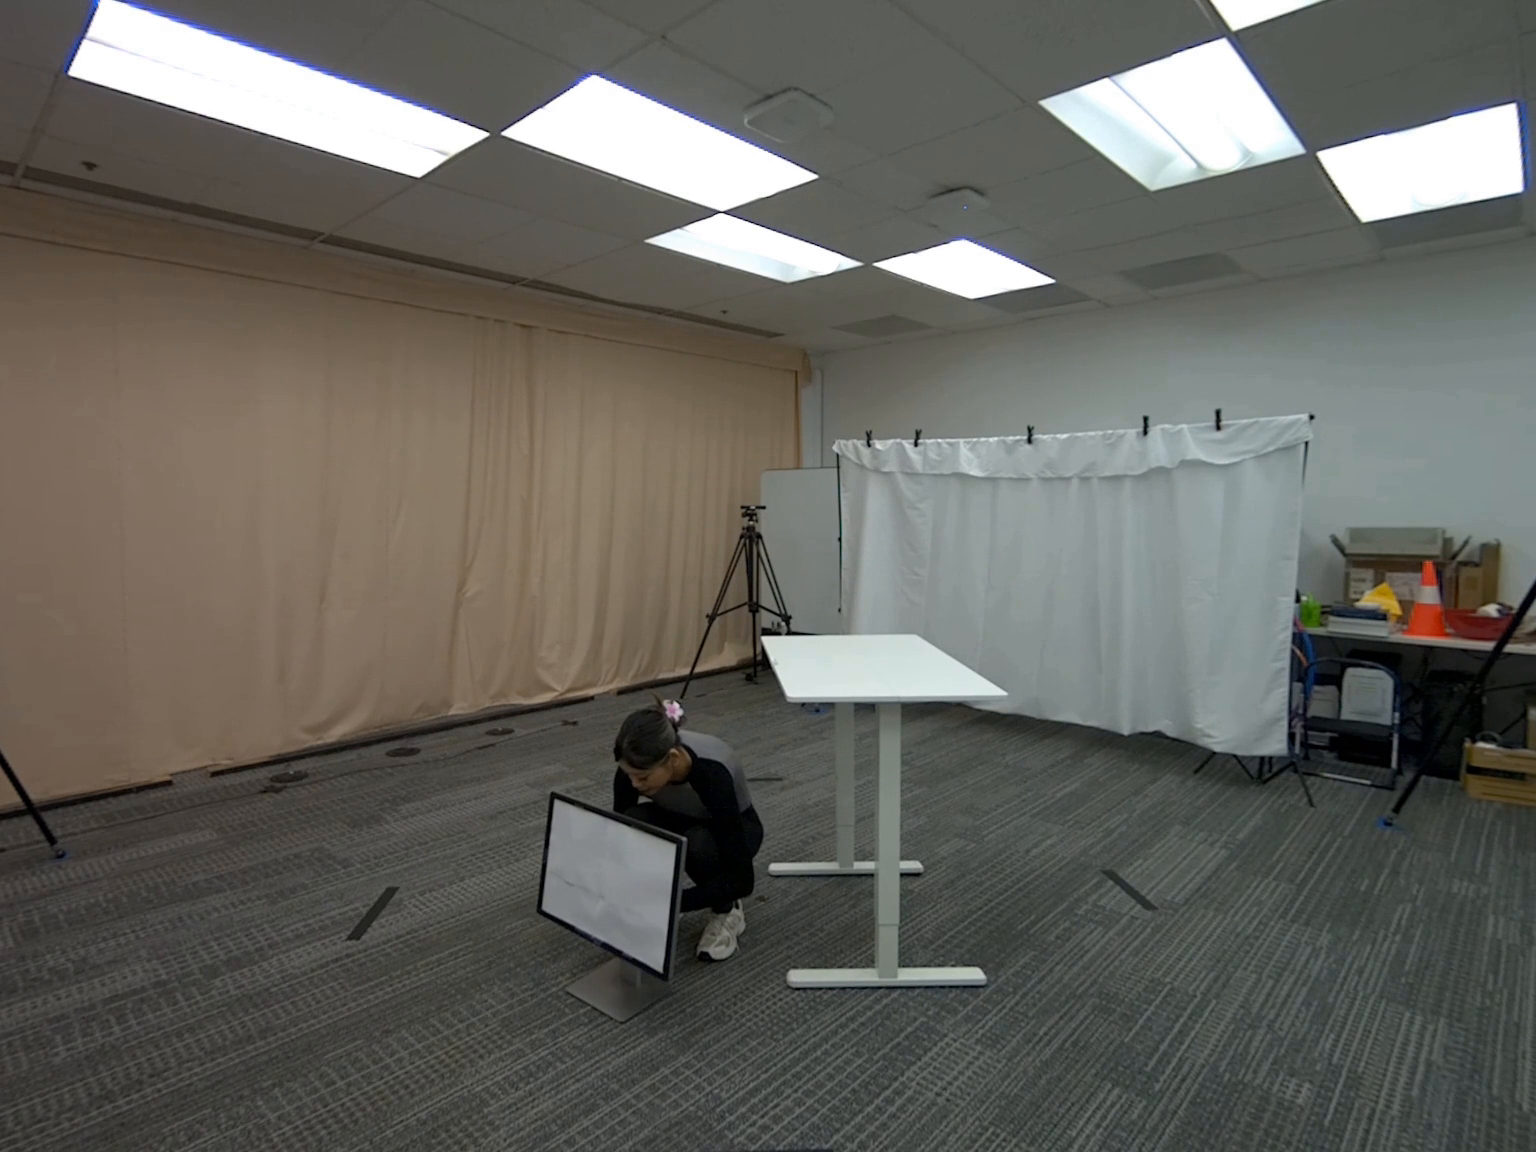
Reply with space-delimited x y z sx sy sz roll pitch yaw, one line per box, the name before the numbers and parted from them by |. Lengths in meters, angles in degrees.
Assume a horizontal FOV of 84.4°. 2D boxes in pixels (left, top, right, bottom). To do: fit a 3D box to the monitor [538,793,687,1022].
monitor | -0.426 0.934 2.402 0.557 0.521 0.181 3 5 39
